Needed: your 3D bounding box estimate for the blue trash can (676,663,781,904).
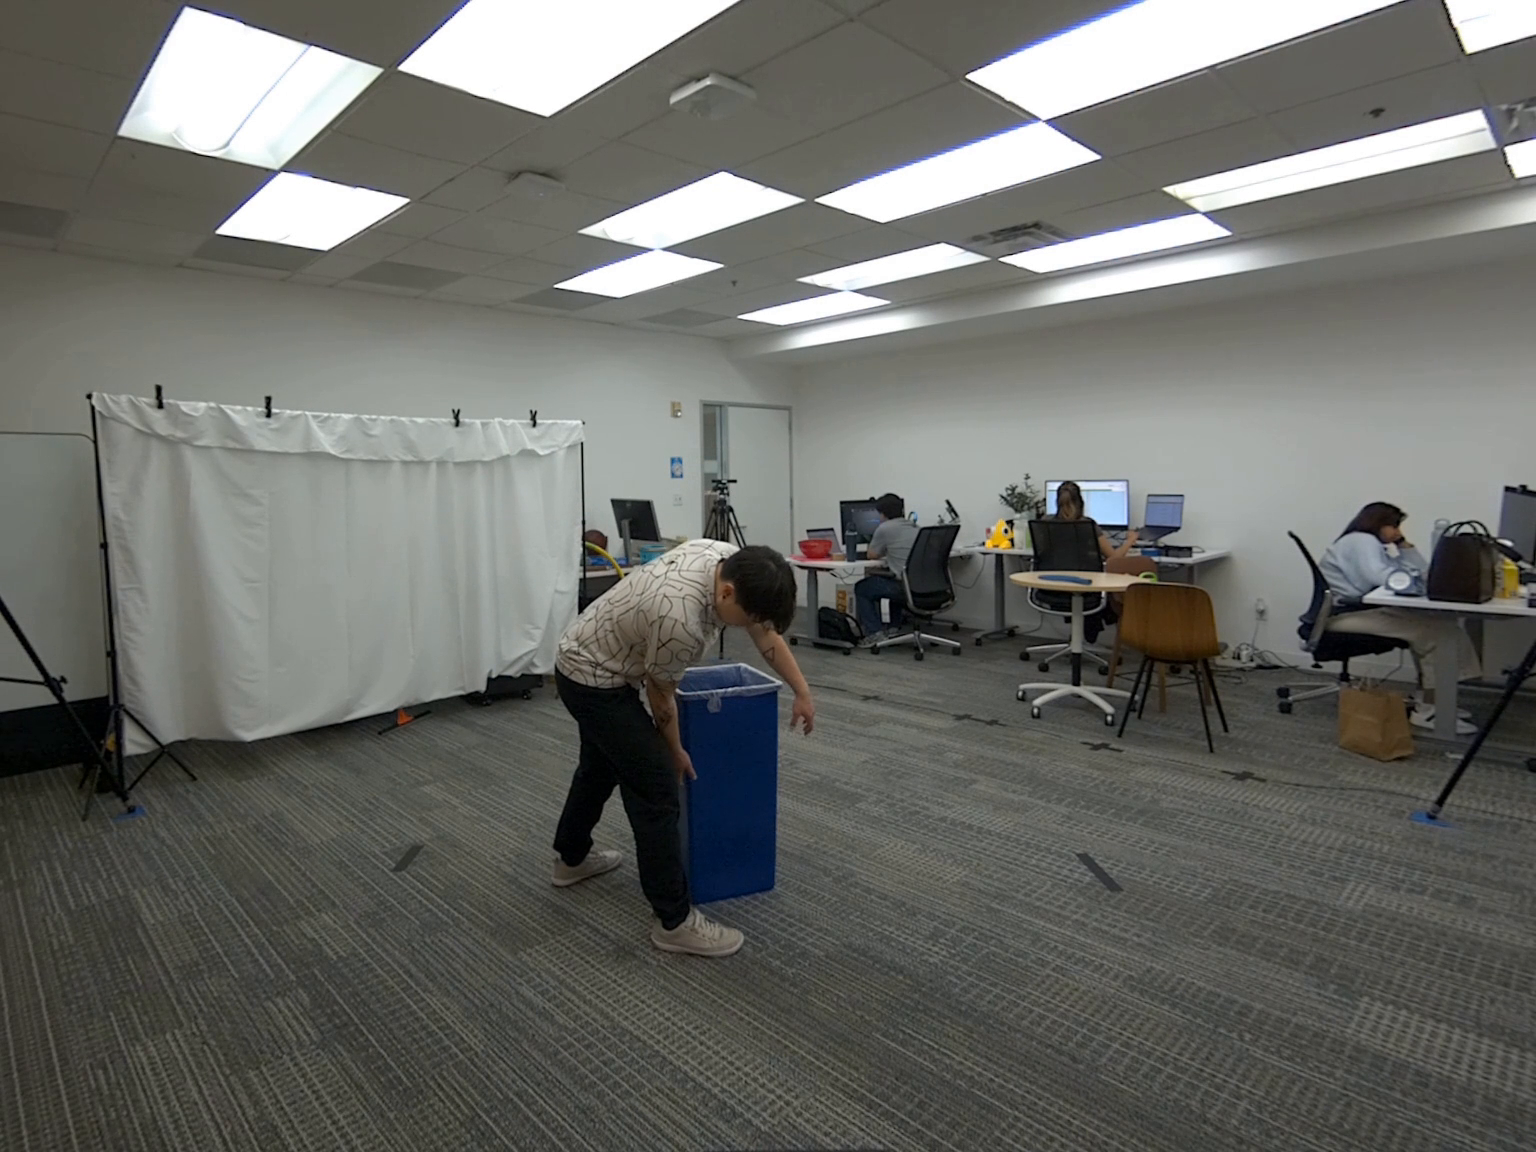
[{"bbox_3d":[-0.169,0.706,2.990,0.367,0.711,0.387,-3,4,-24],"label":"blue trash can"}]
